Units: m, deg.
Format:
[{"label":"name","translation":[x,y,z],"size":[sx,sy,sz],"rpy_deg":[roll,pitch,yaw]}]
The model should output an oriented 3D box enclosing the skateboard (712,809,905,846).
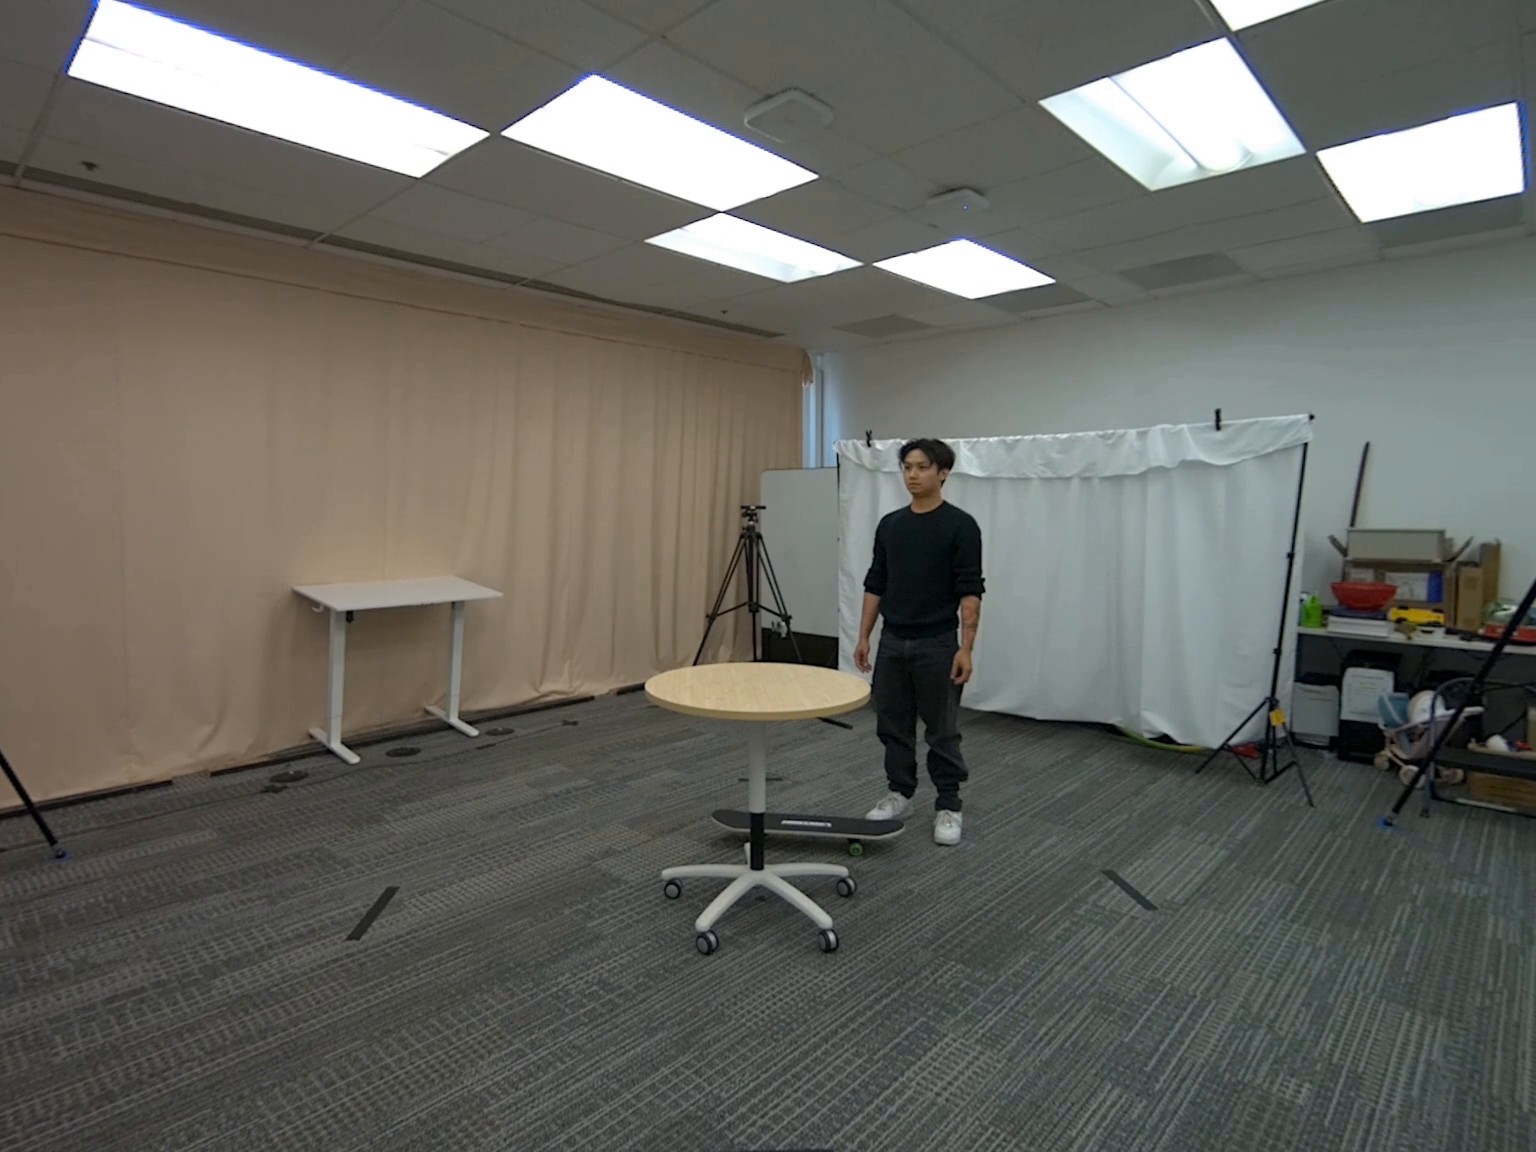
[{"label":"skateboard","translation":[0.160,1.046,3.453],"size":[0.793,0.110,0.192],"rpy_deg":[1,4,9]}]
